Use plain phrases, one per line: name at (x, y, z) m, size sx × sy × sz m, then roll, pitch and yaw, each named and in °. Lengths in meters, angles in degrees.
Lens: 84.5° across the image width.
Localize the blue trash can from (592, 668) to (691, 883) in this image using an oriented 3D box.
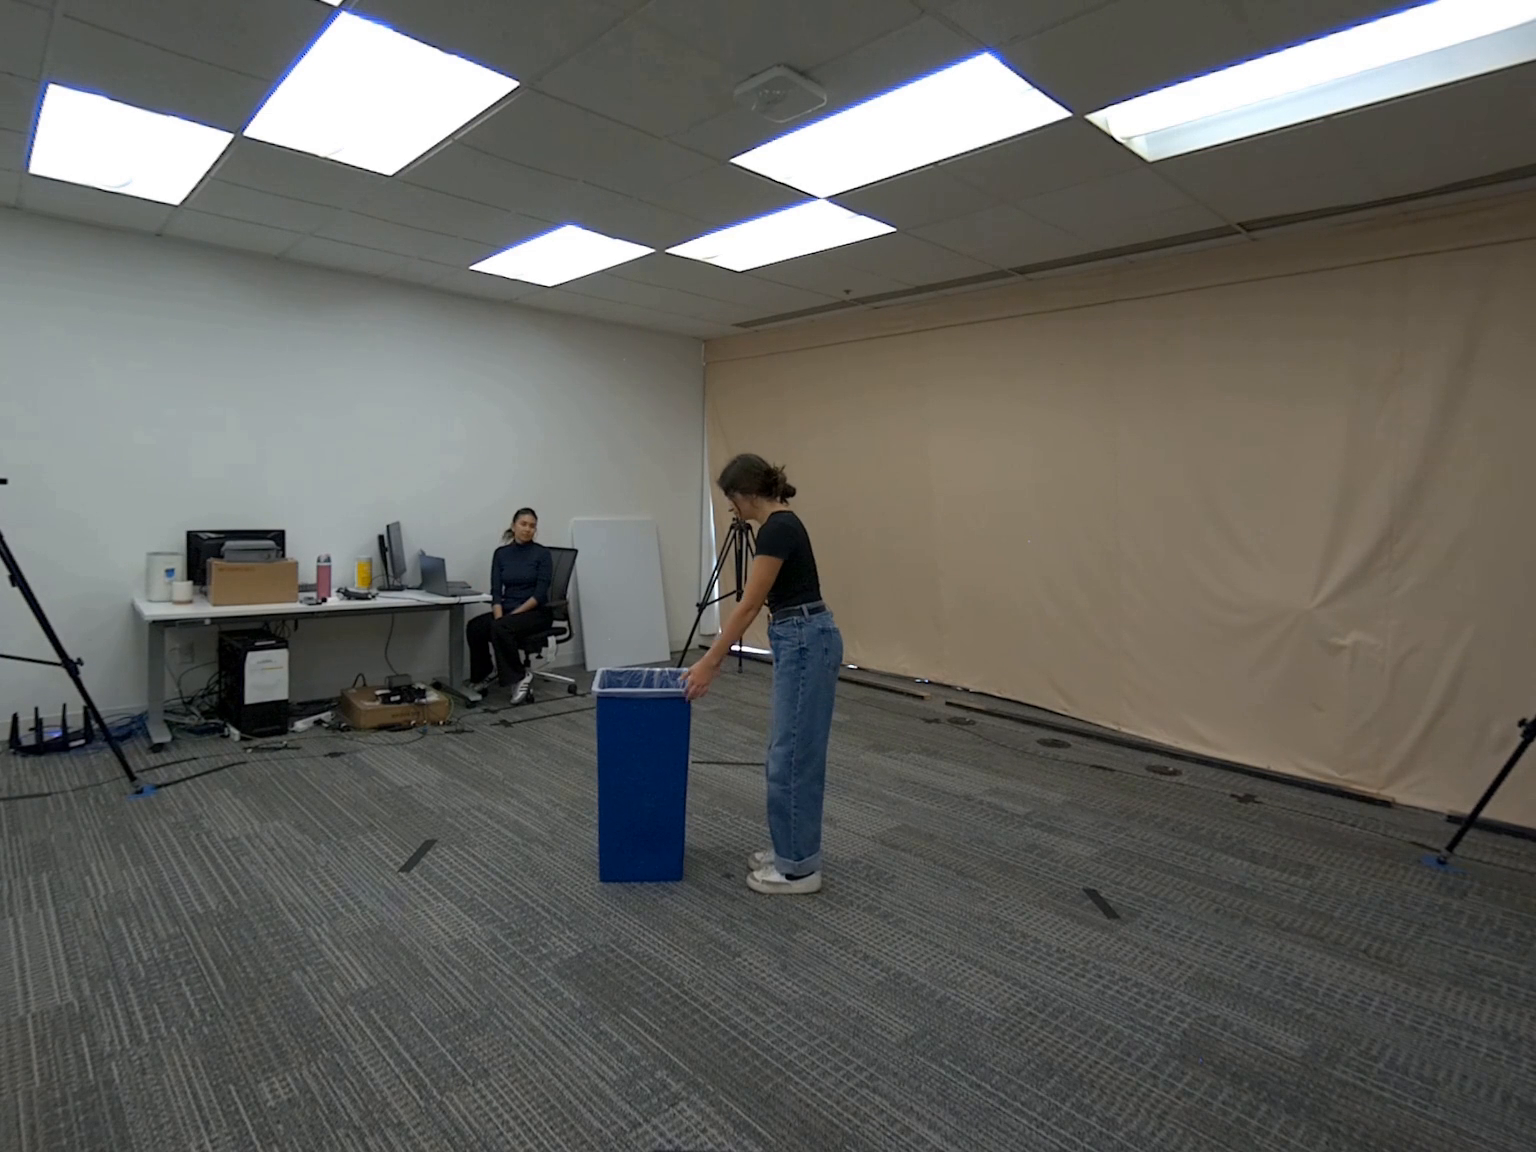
blue trash can at (-0.470, 0.736, 3.164) m, size 0.376 × 0.712 × 0.377 m, roll 0°, pitch 3°, yaw -8°
